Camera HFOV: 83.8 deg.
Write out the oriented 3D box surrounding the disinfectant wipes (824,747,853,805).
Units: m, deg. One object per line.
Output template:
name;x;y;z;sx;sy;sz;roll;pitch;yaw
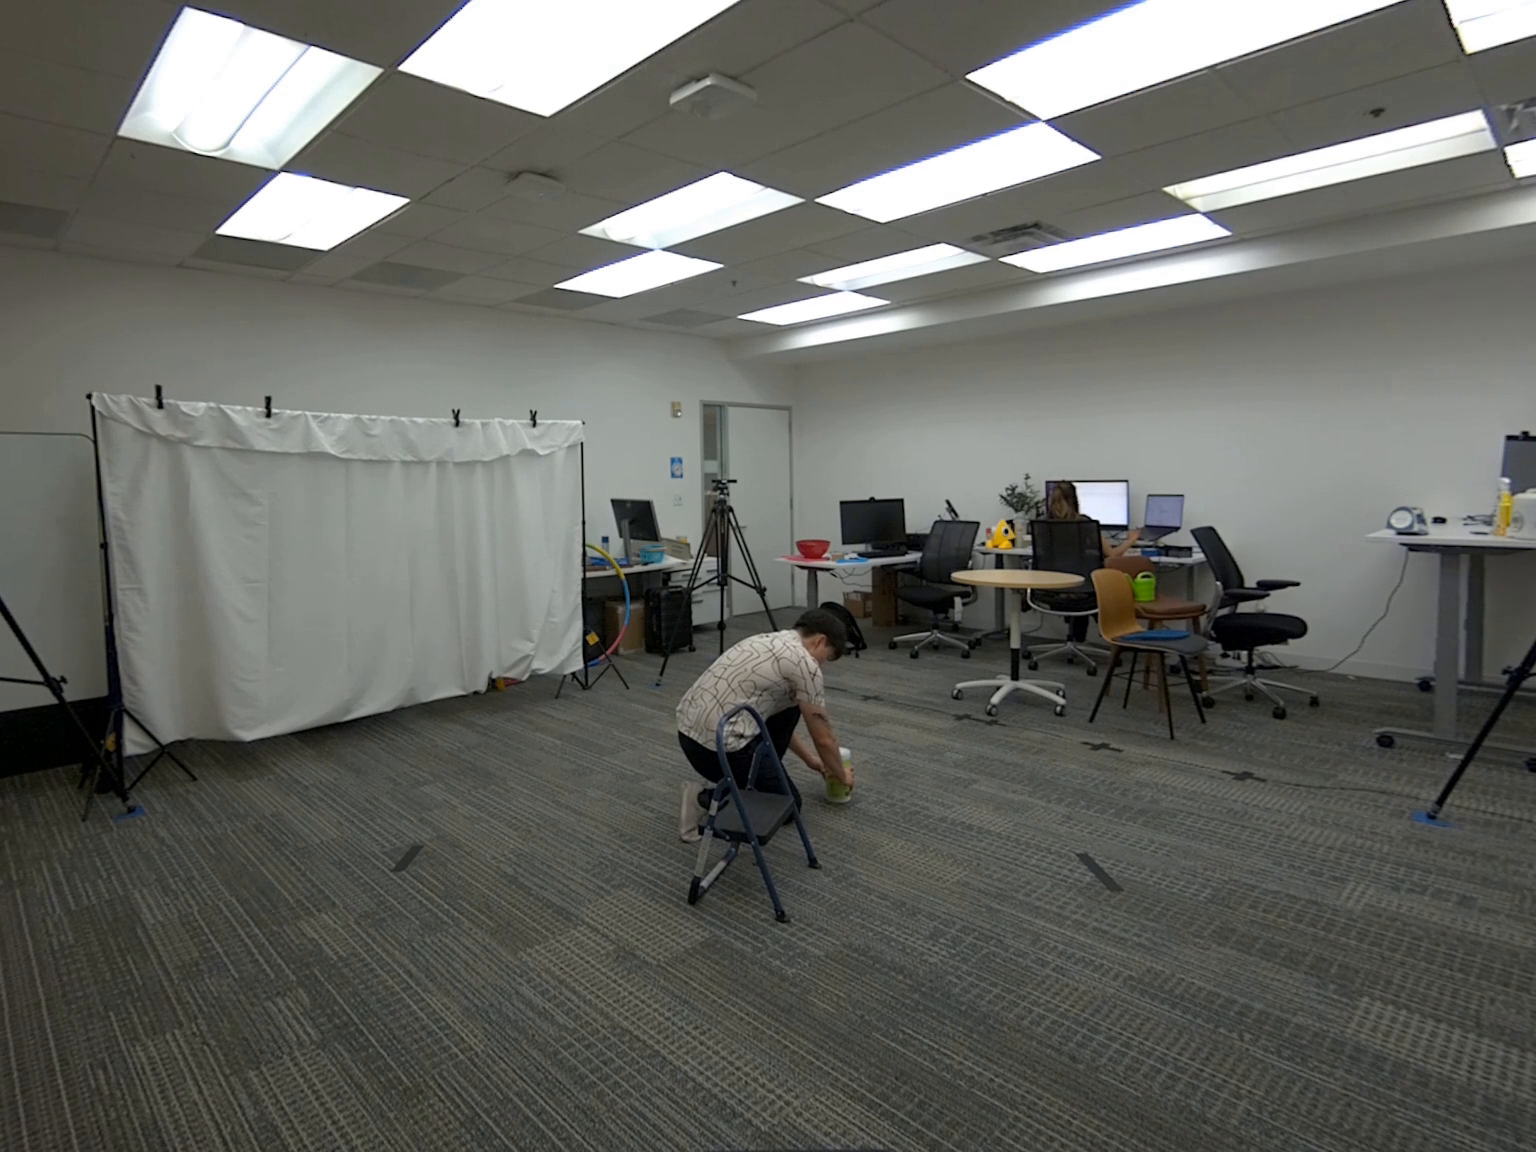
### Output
disinfectant wipes;0.302;0.860;3.709;0.118;0.217;0.118;1;3;-2
